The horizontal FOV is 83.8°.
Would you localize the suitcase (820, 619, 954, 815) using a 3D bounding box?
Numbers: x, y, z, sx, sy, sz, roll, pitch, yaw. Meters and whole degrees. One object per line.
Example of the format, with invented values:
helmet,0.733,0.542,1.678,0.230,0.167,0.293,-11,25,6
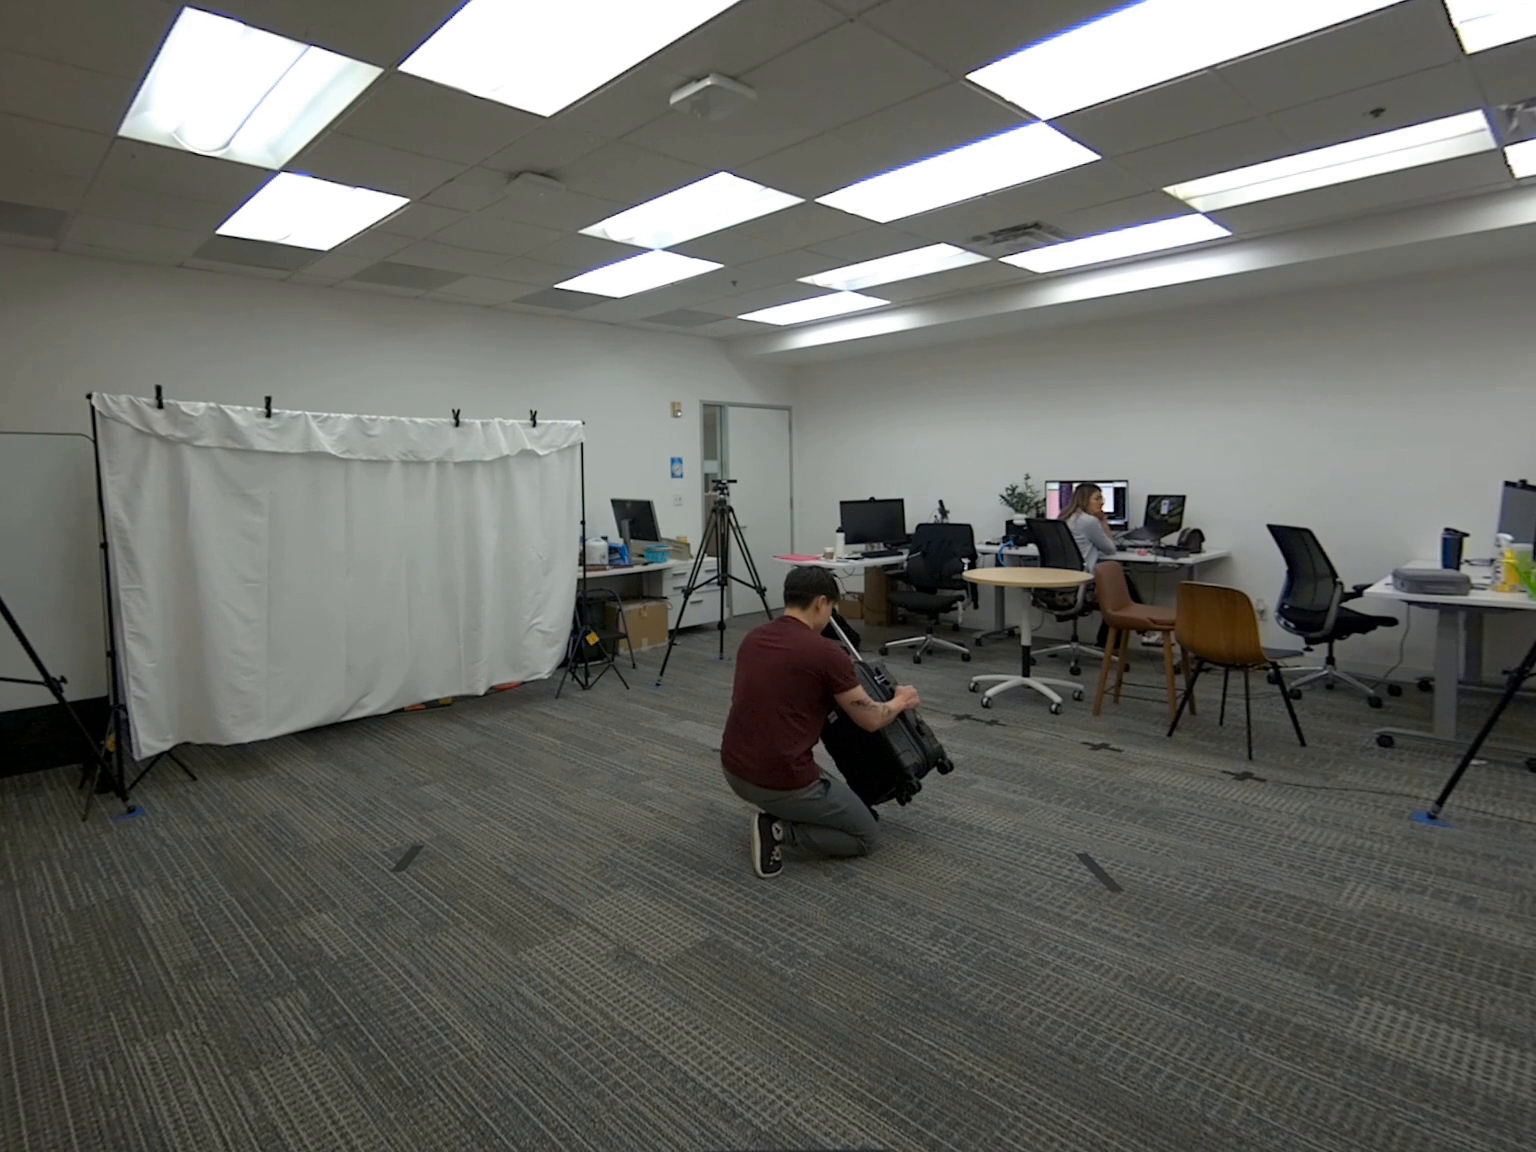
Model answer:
suitcase,0.315,0.463,3.482,0.251,1.006,0.381,-14,-30,-40
